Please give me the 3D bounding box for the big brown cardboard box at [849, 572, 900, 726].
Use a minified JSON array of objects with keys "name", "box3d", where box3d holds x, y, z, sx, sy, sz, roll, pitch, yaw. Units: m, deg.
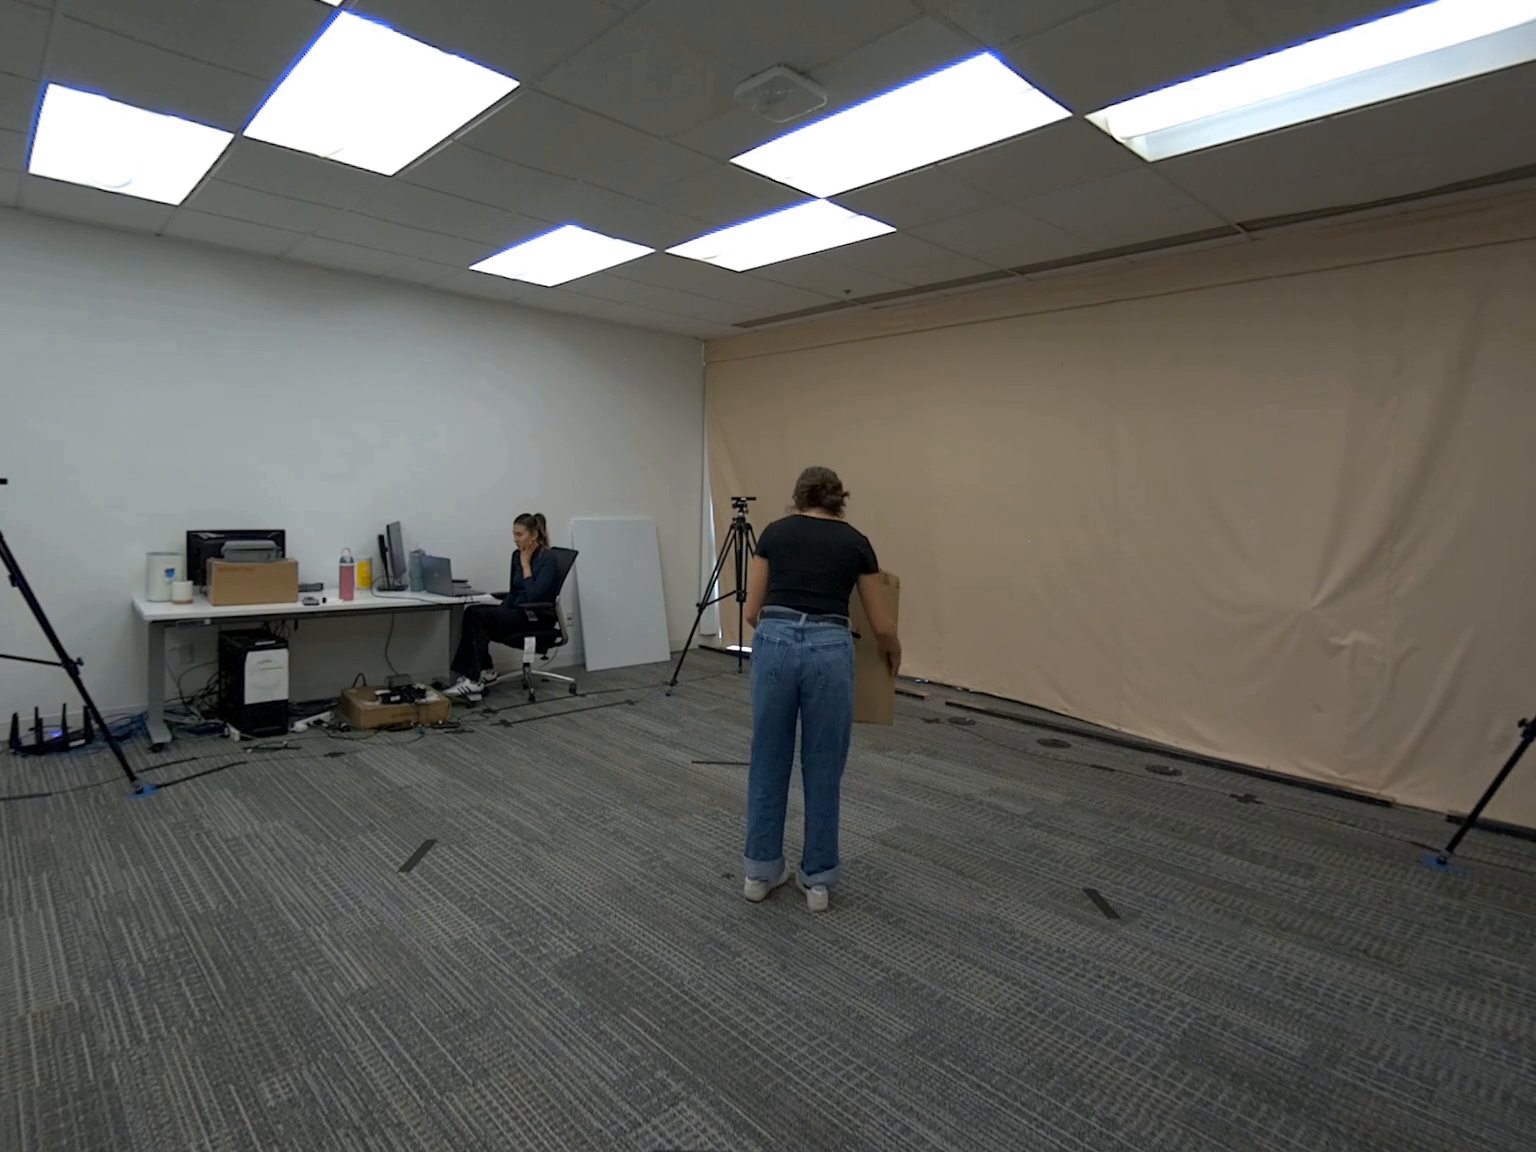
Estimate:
[{"name":"big brown cardboard box","box3d":[0.257,0.269,3.240,0.426,0.593,0.227,-1,-13,27]}]
